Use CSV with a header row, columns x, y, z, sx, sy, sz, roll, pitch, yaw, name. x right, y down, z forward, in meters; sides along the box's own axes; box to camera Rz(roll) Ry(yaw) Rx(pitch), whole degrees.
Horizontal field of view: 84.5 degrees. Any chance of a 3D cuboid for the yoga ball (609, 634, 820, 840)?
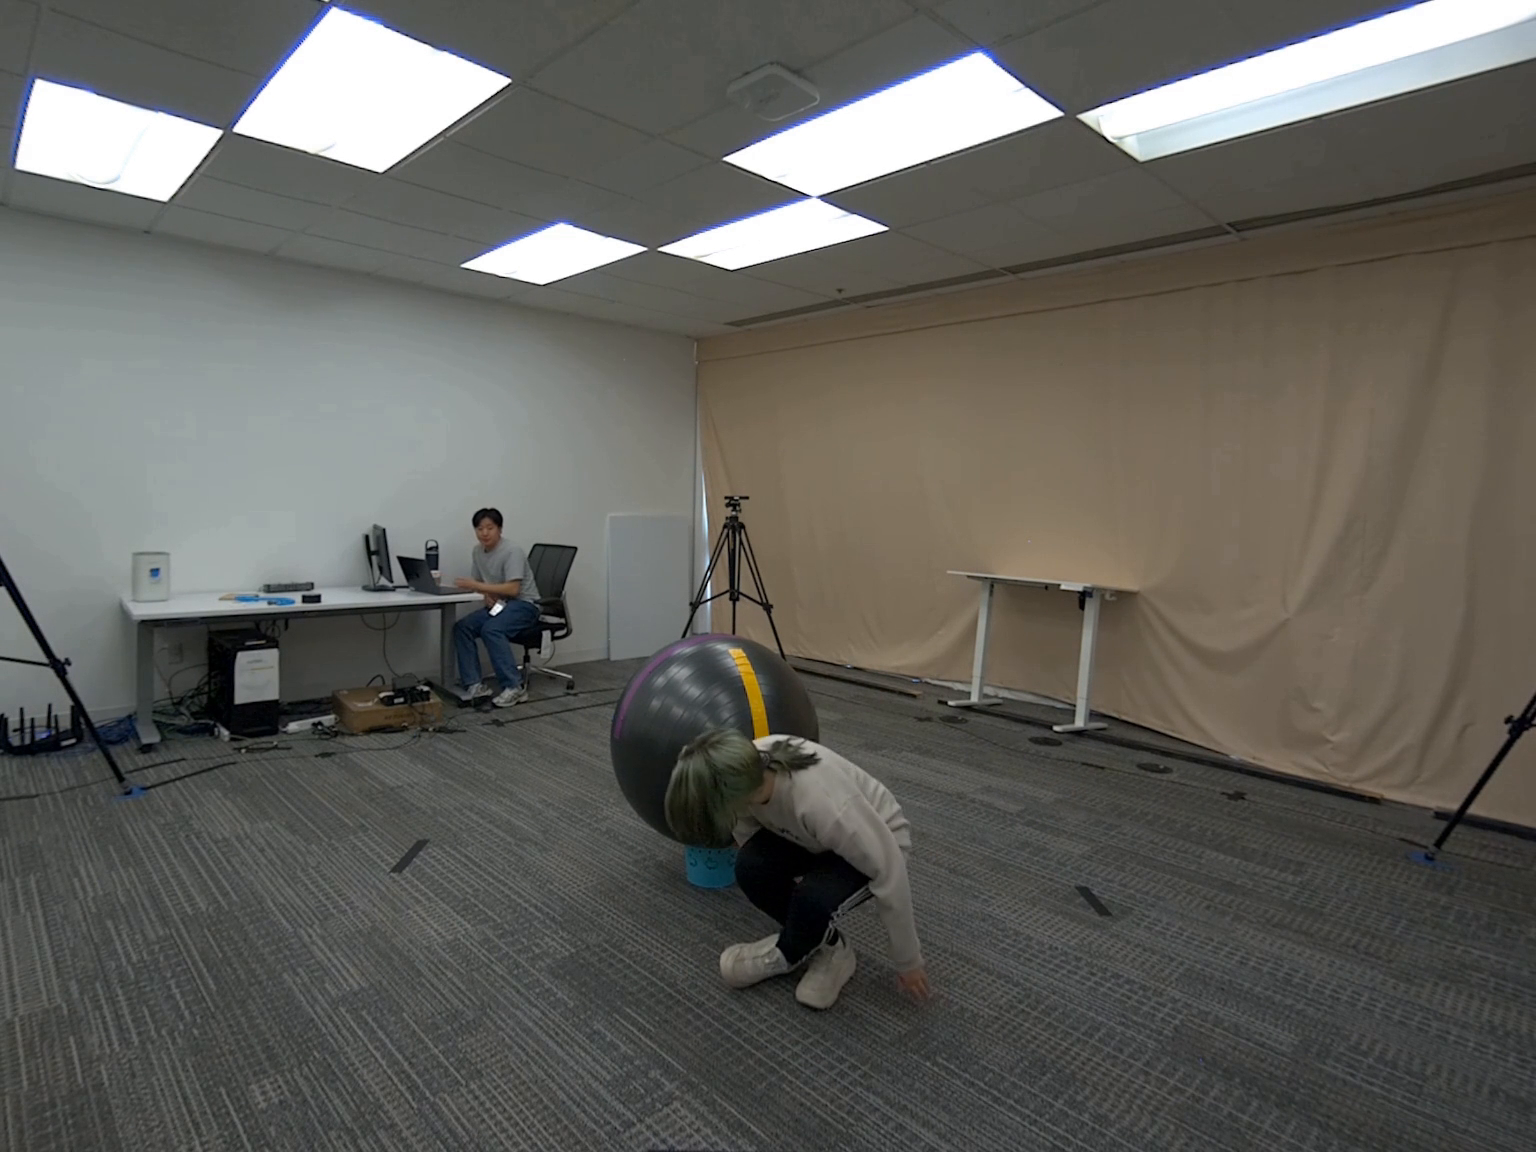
x,y,z,sx,sy,sz,roll,pitch,yaw,name
-0.198,0.593,3.063,0.757,0.756,0.761,1,4,-1,yoga ball
